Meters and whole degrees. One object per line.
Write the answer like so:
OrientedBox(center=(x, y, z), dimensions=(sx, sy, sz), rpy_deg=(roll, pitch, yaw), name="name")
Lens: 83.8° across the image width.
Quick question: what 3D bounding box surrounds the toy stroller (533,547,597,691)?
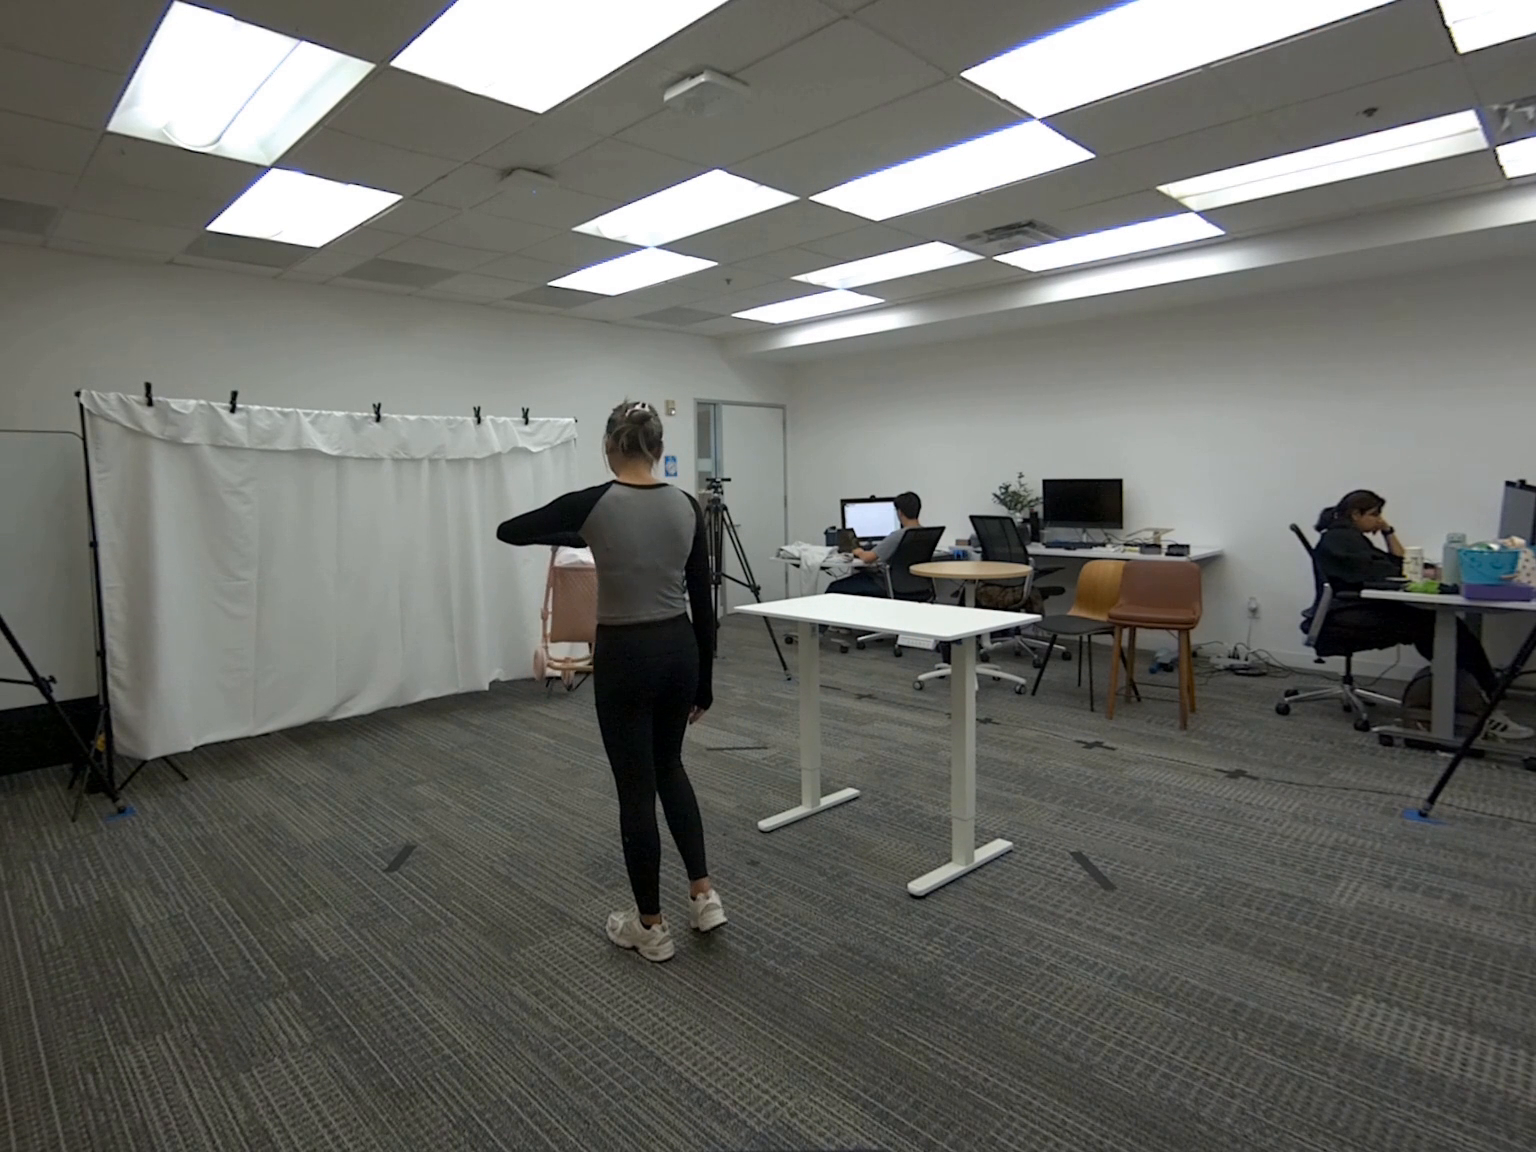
OrientedBox(center=(-0.653, 0.131, 2.929), dimensions=(0.277, 0.535, 0.346), rpy_deg=(2, 0, -15), name="toy stroller")
